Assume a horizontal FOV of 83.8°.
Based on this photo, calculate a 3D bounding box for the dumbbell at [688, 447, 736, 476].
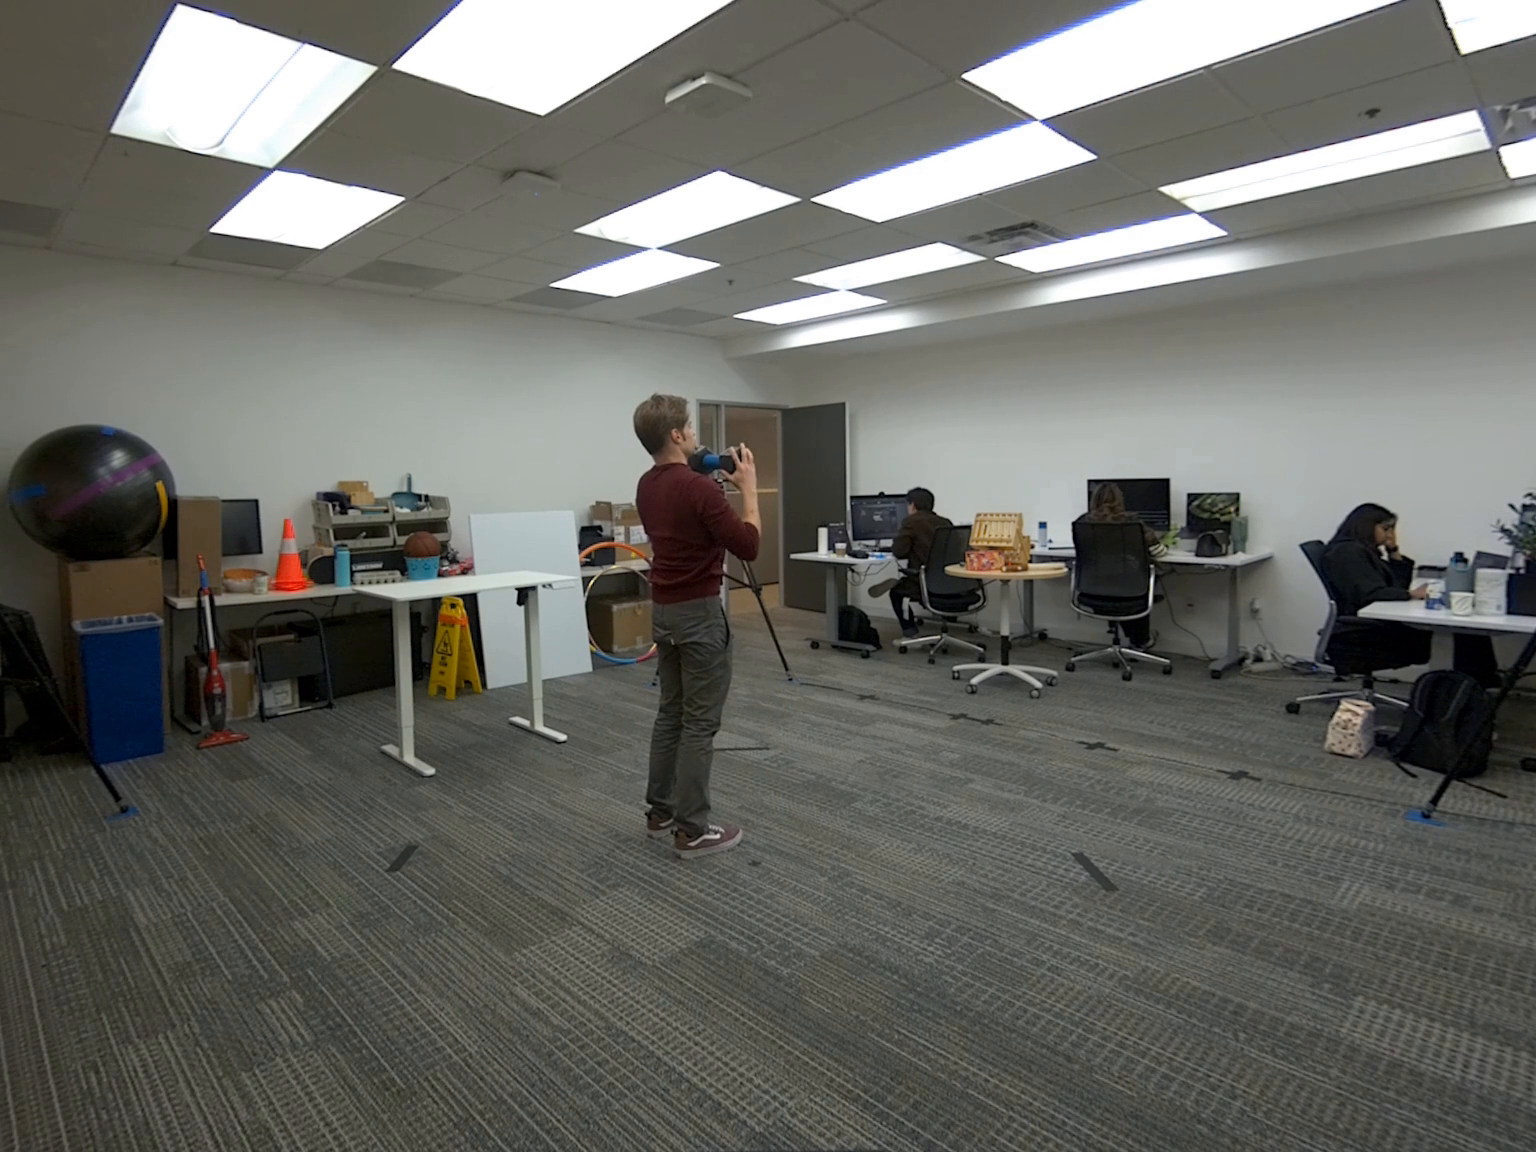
[{"bbox_3d":[-0.198,-0.450,3.342,0.106,0.122,0.303,-6,11,-40],"label":"dumbbell"}]
